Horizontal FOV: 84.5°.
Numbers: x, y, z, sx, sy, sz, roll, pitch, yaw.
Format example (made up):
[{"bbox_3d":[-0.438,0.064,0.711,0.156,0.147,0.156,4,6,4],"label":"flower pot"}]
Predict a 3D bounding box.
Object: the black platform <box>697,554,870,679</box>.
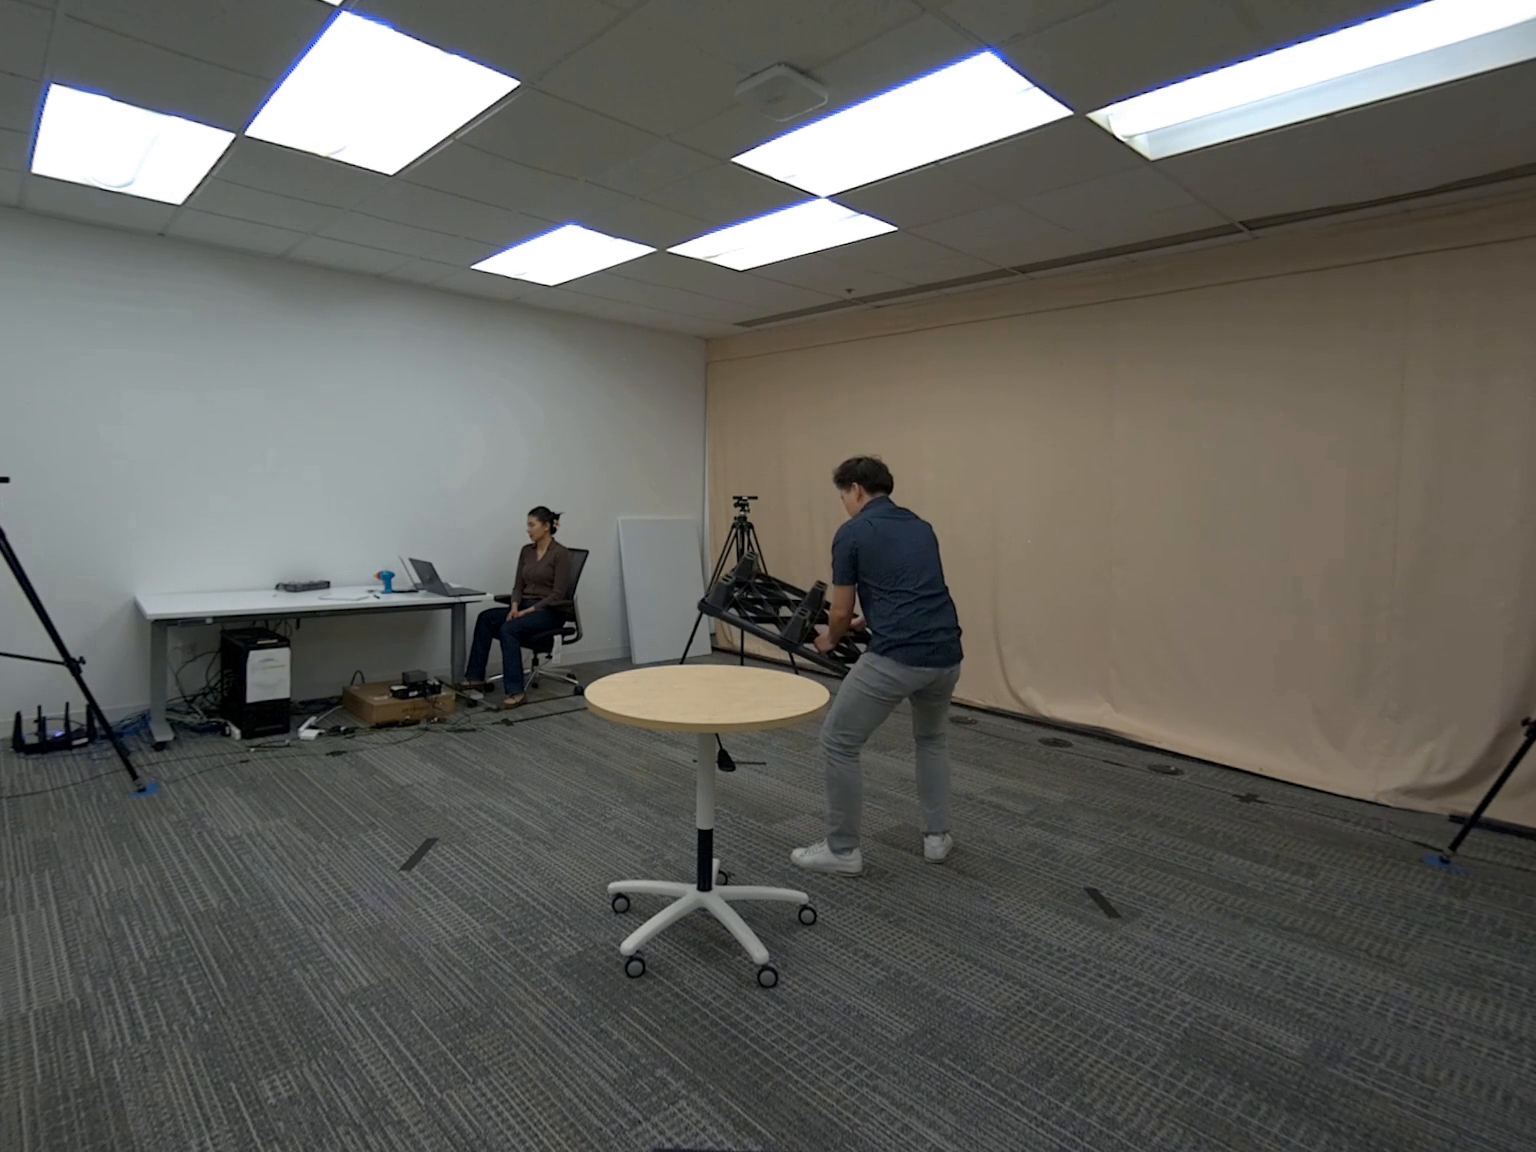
[{"bbox_3d":[0.155,0.159,3.601,0.814,0.142,0.604,24,22,9],"label":"black platform"}]
